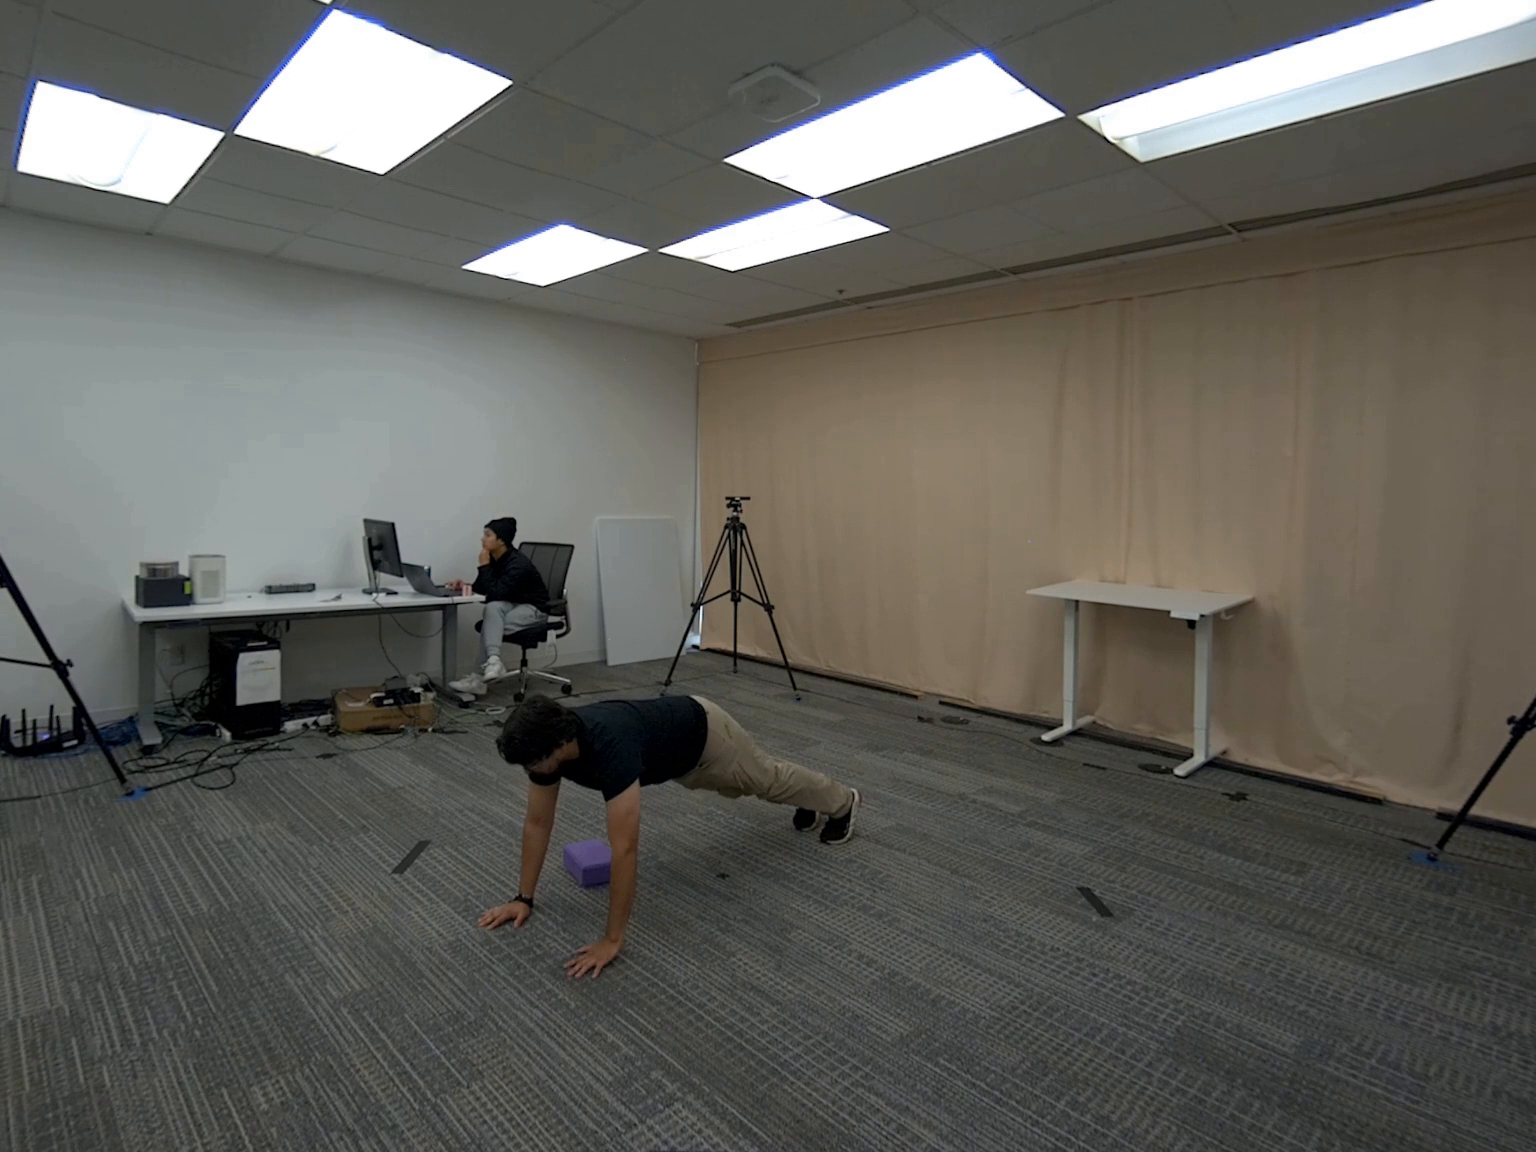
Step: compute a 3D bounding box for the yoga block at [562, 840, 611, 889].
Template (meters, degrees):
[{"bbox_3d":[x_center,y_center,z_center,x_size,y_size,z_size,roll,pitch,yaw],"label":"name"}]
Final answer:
[{"bbox_3d":[-0.661,1.054,3.104,0.146,0.076,0.234,-2,5,-30],"label":"yoga block"}]
